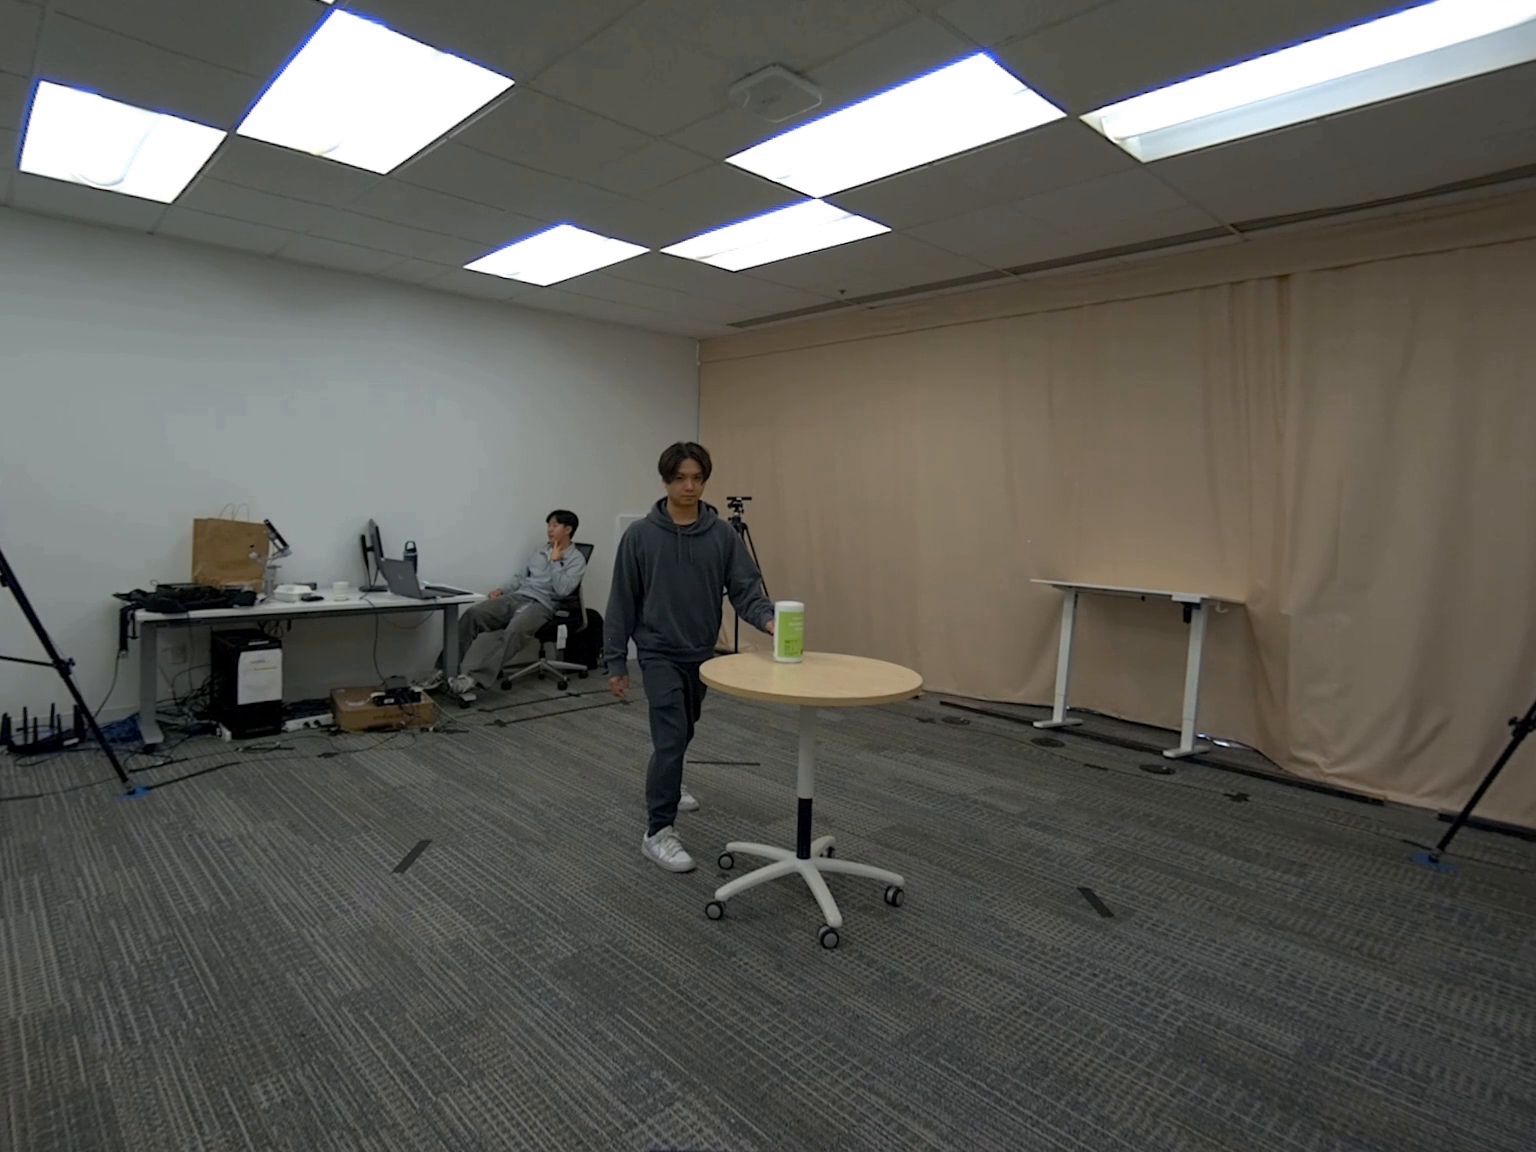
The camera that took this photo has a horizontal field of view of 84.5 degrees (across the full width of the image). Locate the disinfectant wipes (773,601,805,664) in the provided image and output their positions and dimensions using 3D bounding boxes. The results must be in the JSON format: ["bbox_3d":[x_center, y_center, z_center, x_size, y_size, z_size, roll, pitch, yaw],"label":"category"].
[{"bbox_3d":[0.070,0.207,3.094,0.118,0.217,0.118,3,5,-2],"label":"disinfectant wipes"}]
